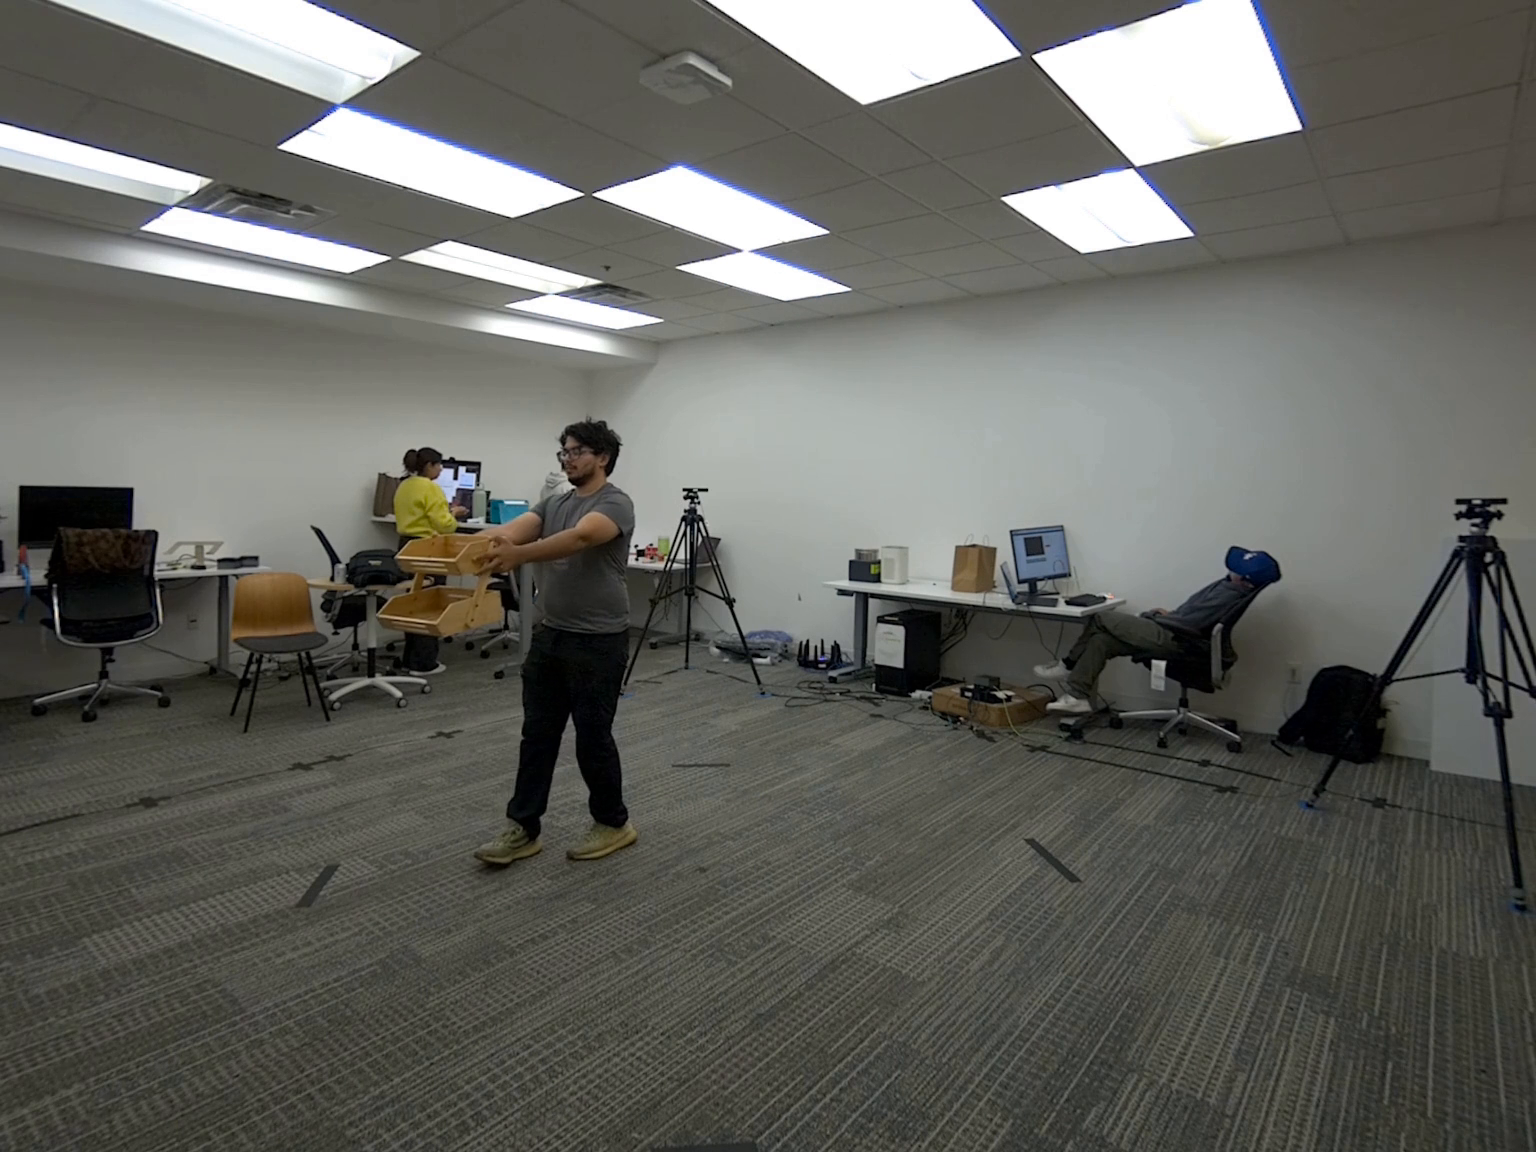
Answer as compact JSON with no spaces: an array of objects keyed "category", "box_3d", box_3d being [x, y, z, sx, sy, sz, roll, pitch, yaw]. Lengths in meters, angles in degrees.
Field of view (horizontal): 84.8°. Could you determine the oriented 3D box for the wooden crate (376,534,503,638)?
[{"category":"wooden crate","box_3d":[-1.052,0.014,2.691,0.334,0.271,0.295,4,9,32]}]
